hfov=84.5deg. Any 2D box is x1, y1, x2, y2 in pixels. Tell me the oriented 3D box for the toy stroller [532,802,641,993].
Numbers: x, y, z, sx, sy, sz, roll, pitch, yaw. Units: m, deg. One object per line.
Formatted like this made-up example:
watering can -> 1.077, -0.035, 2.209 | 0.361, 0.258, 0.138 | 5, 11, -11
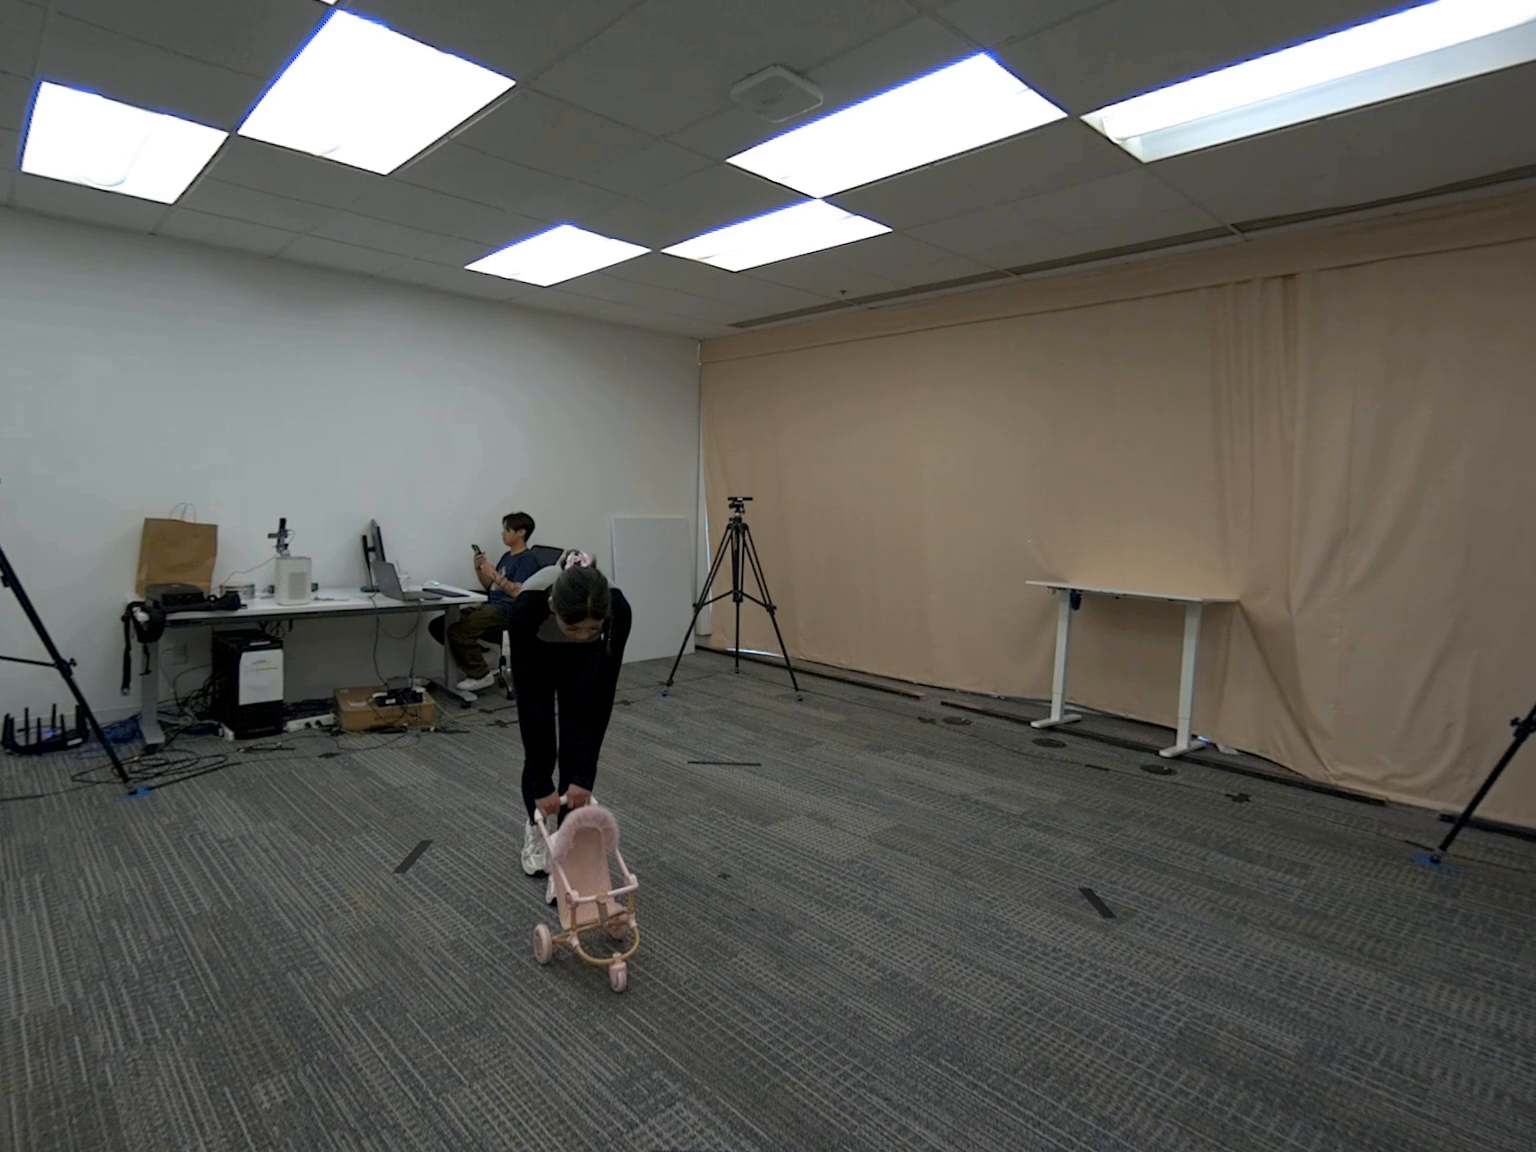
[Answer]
toy stroller -> -0.538, 0.927, 2.514 | 0.275, 0.540, 0.345 | -1, -12, -32
